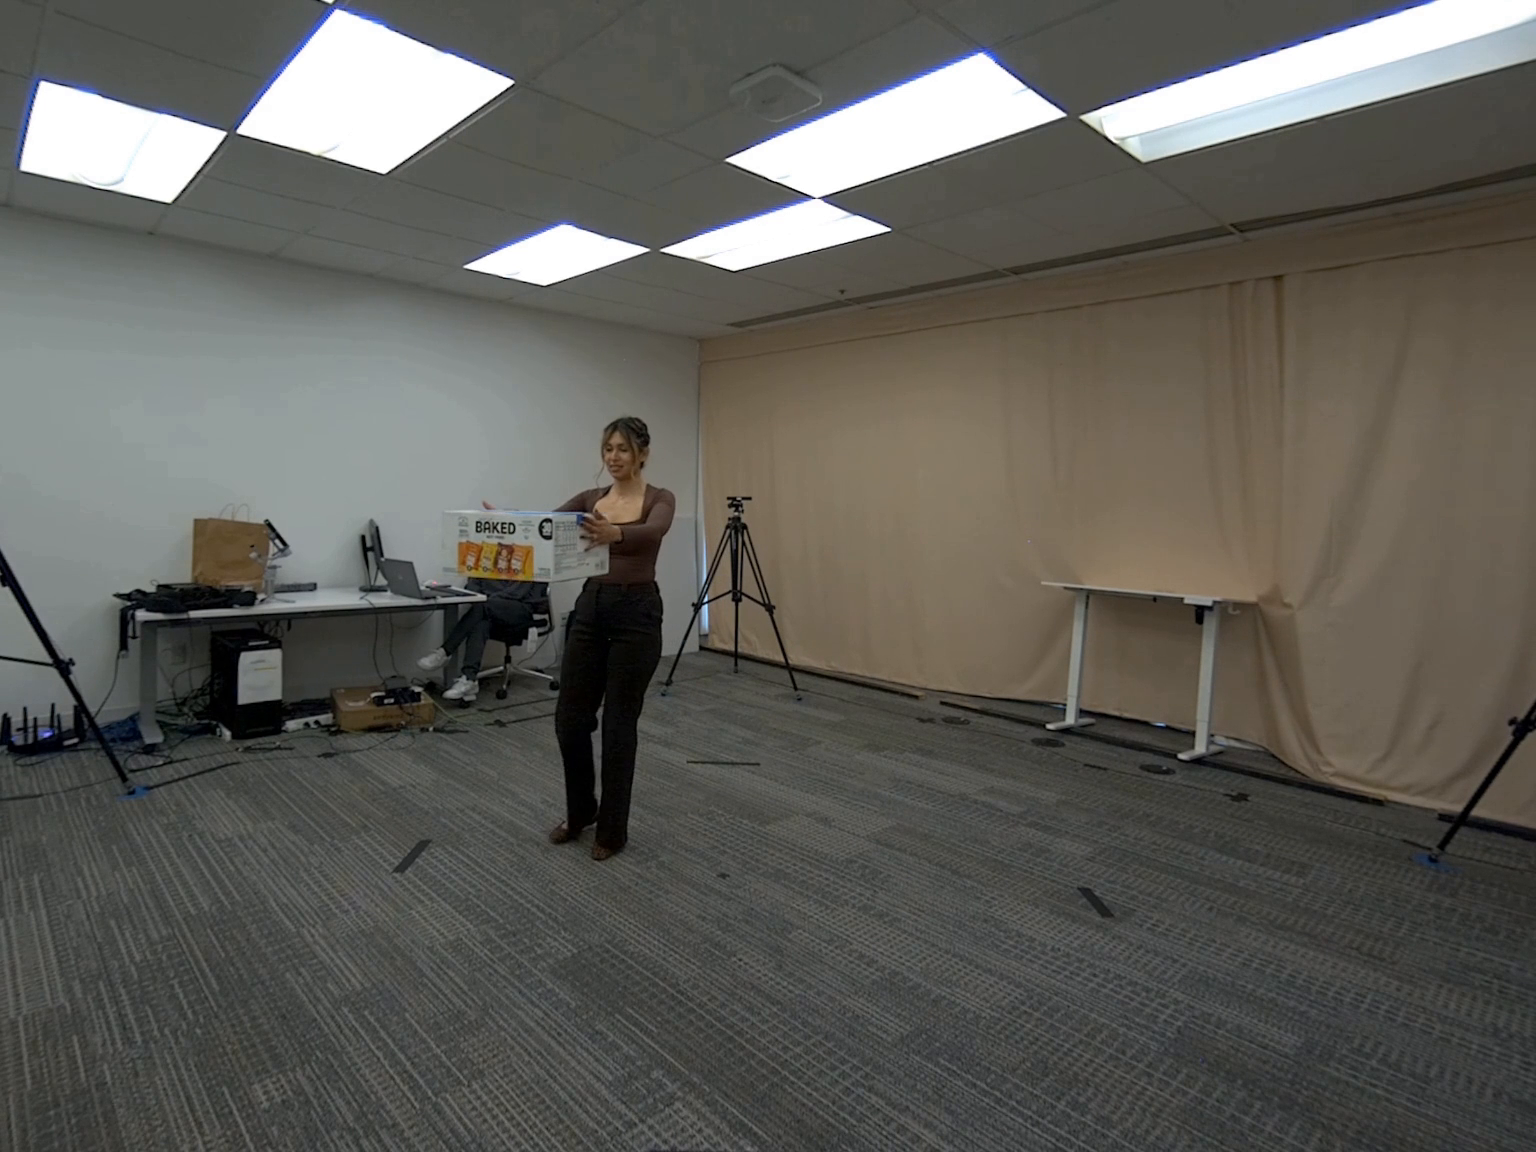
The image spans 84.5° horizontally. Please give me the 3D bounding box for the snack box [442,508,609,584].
[{"bbox_3d":[-0.794,-0.103,2.710,0.412,0.205,0.336,5,5,19],"label":"snack box"}]
